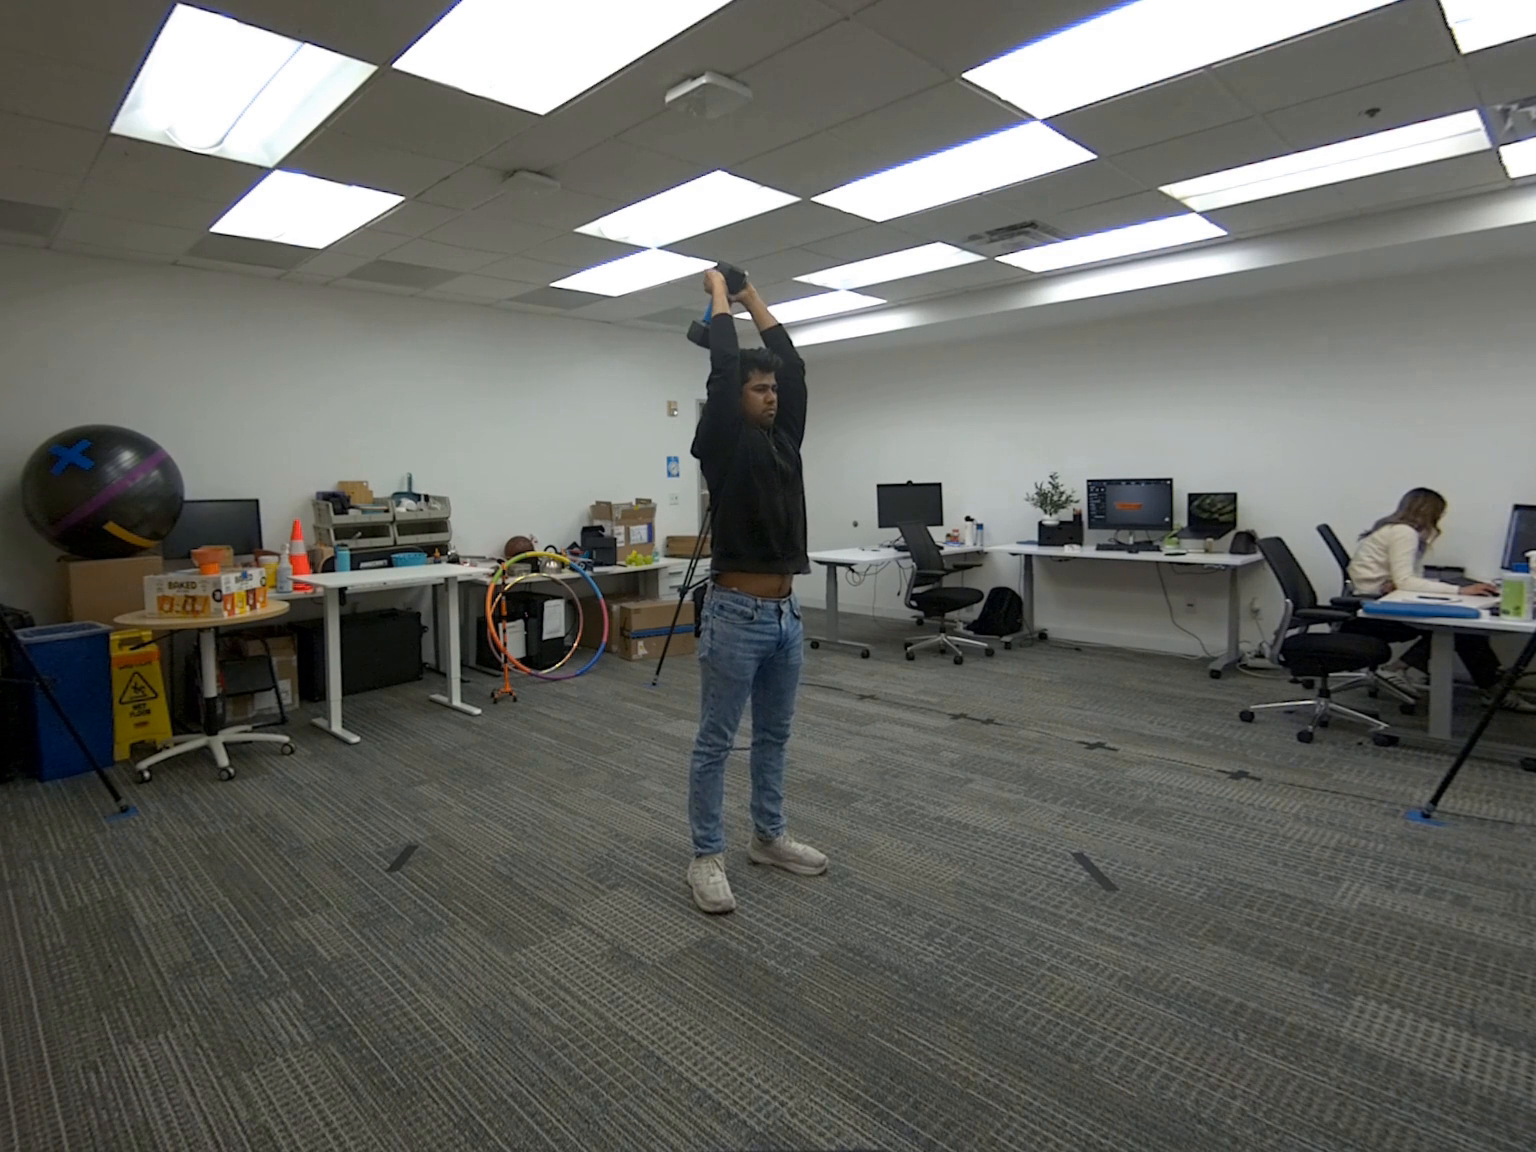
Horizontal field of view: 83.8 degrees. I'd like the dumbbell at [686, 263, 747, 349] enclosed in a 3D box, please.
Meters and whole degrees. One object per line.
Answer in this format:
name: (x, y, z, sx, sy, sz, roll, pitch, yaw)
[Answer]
dumbbell: (-0.175, -0.930, 2.965, 0.119, 0.291, 0.112, 17, 21, -28)
